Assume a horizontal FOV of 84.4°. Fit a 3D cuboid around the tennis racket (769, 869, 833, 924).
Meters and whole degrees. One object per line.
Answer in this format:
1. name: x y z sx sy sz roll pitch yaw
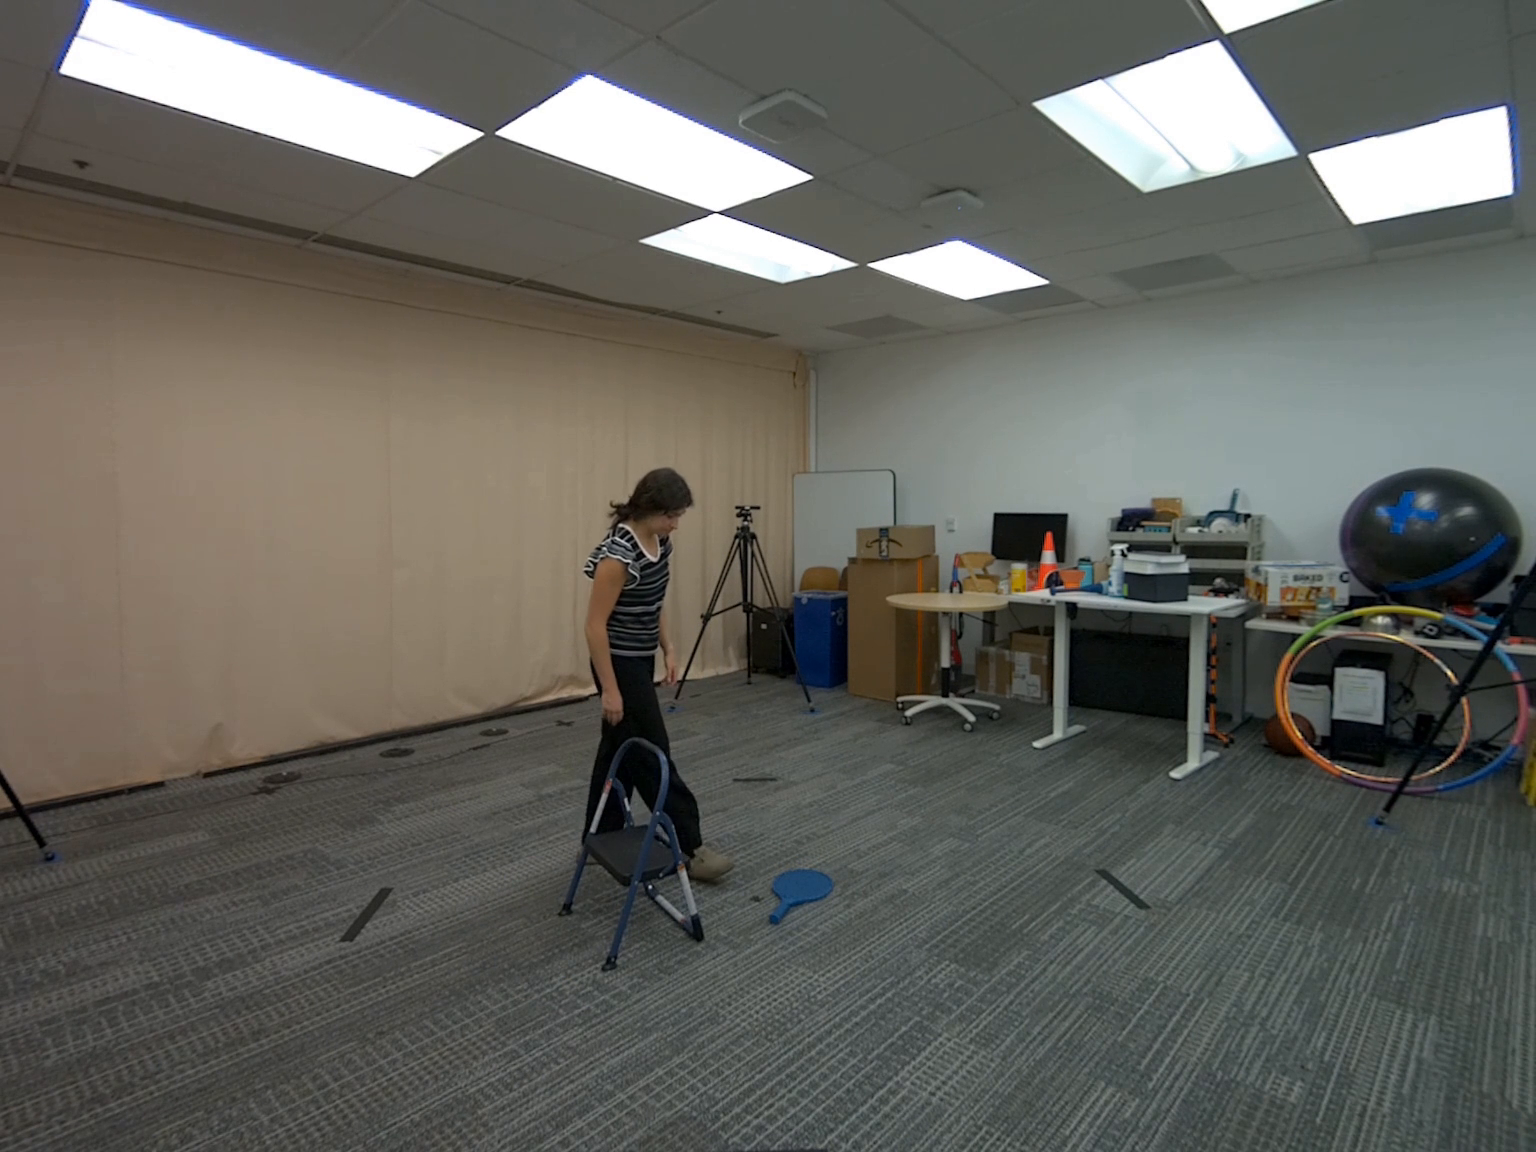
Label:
1. tennis racket: 0.095 1.126 2.994 0.219 0.032 0.423 2 3 22
